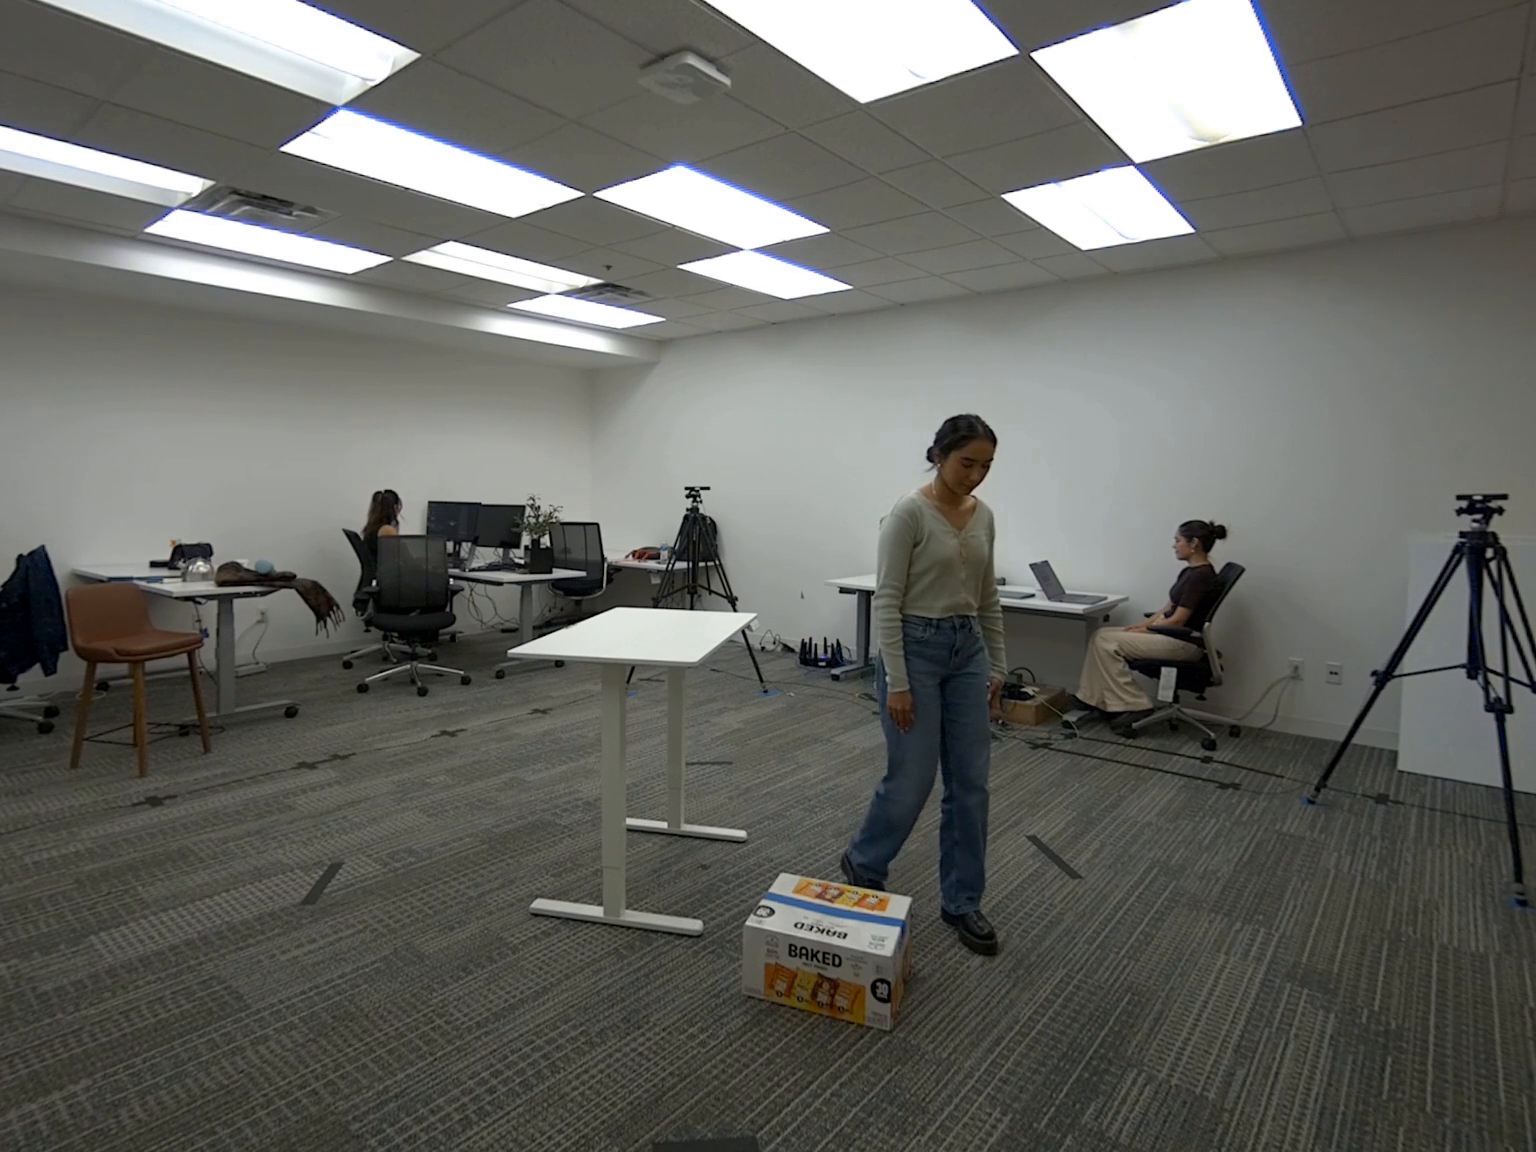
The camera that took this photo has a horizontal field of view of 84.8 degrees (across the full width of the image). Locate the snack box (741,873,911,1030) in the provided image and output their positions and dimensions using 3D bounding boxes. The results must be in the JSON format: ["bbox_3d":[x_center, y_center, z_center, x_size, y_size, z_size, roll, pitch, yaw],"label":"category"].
[{"bbox_3d":[0.172,1.041,2.400,0.414,0.205,0.334,3,5,20],"label":"snack box"}]
